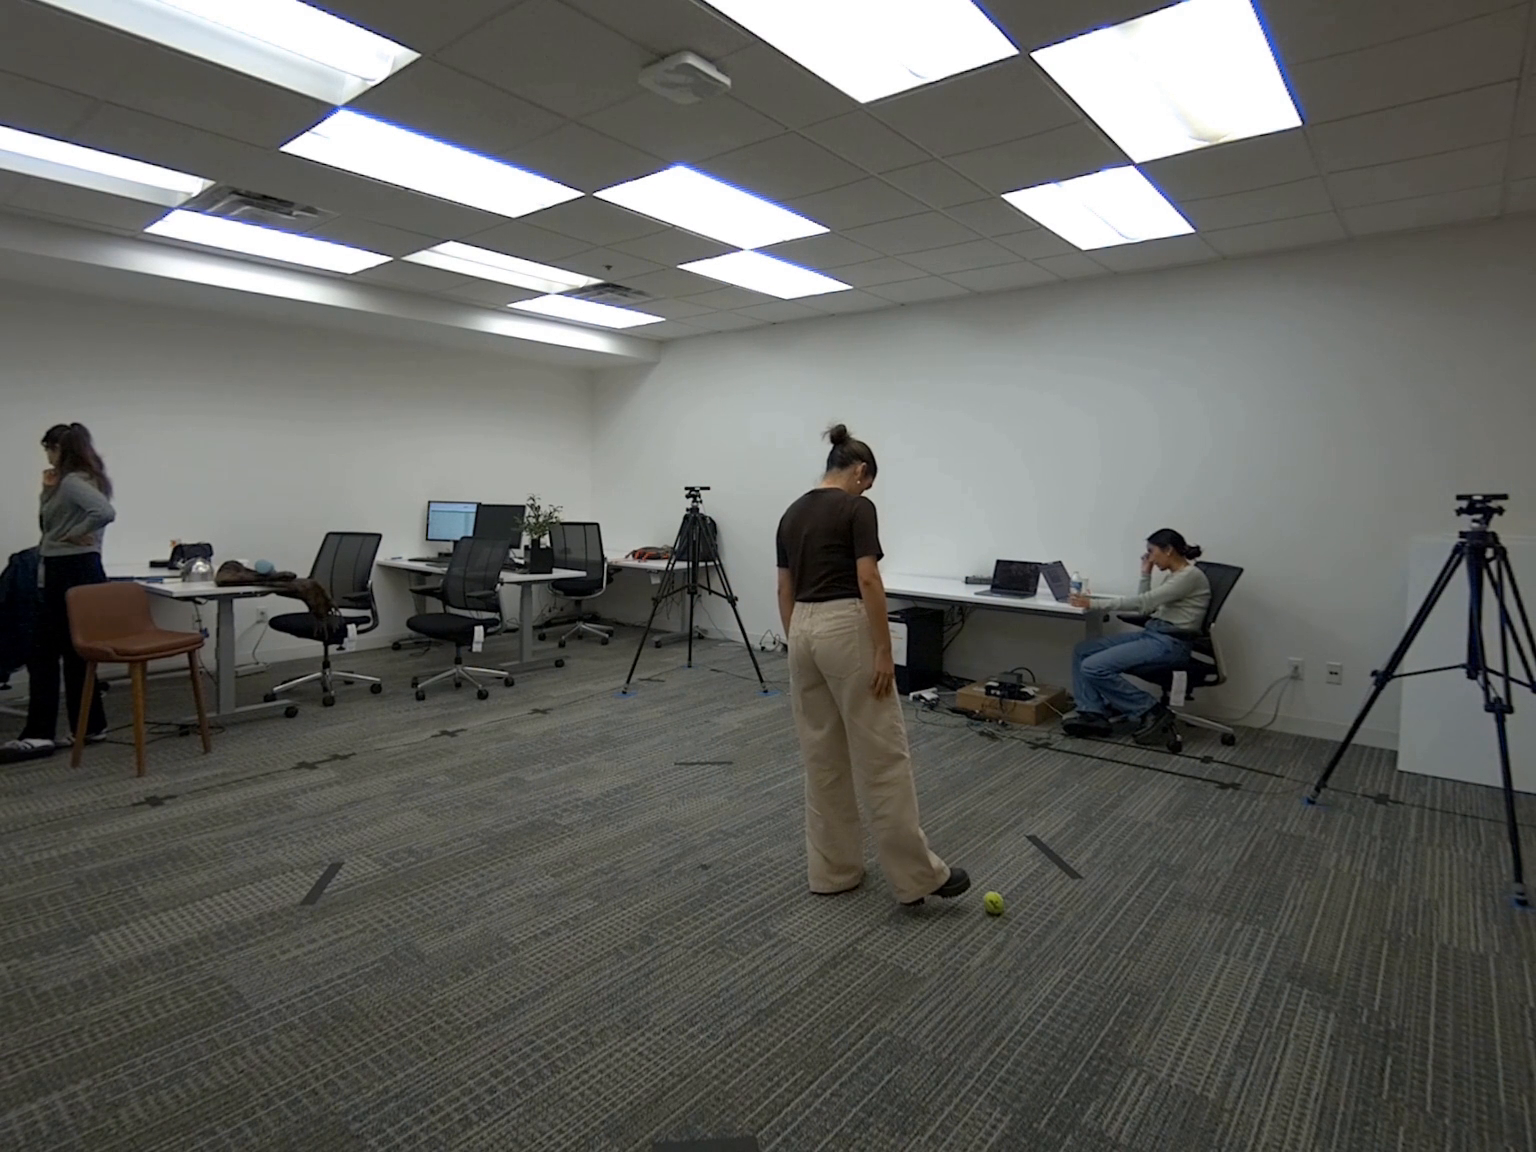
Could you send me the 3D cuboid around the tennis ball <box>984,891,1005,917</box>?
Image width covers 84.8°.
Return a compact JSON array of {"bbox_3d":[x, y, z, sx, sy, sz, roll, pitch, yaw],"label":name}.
[{"bbox_3d":[0.739,1.071,2.816,0.066,0.066,0.067,1,4,-2],"label":"tennis ball"}]
